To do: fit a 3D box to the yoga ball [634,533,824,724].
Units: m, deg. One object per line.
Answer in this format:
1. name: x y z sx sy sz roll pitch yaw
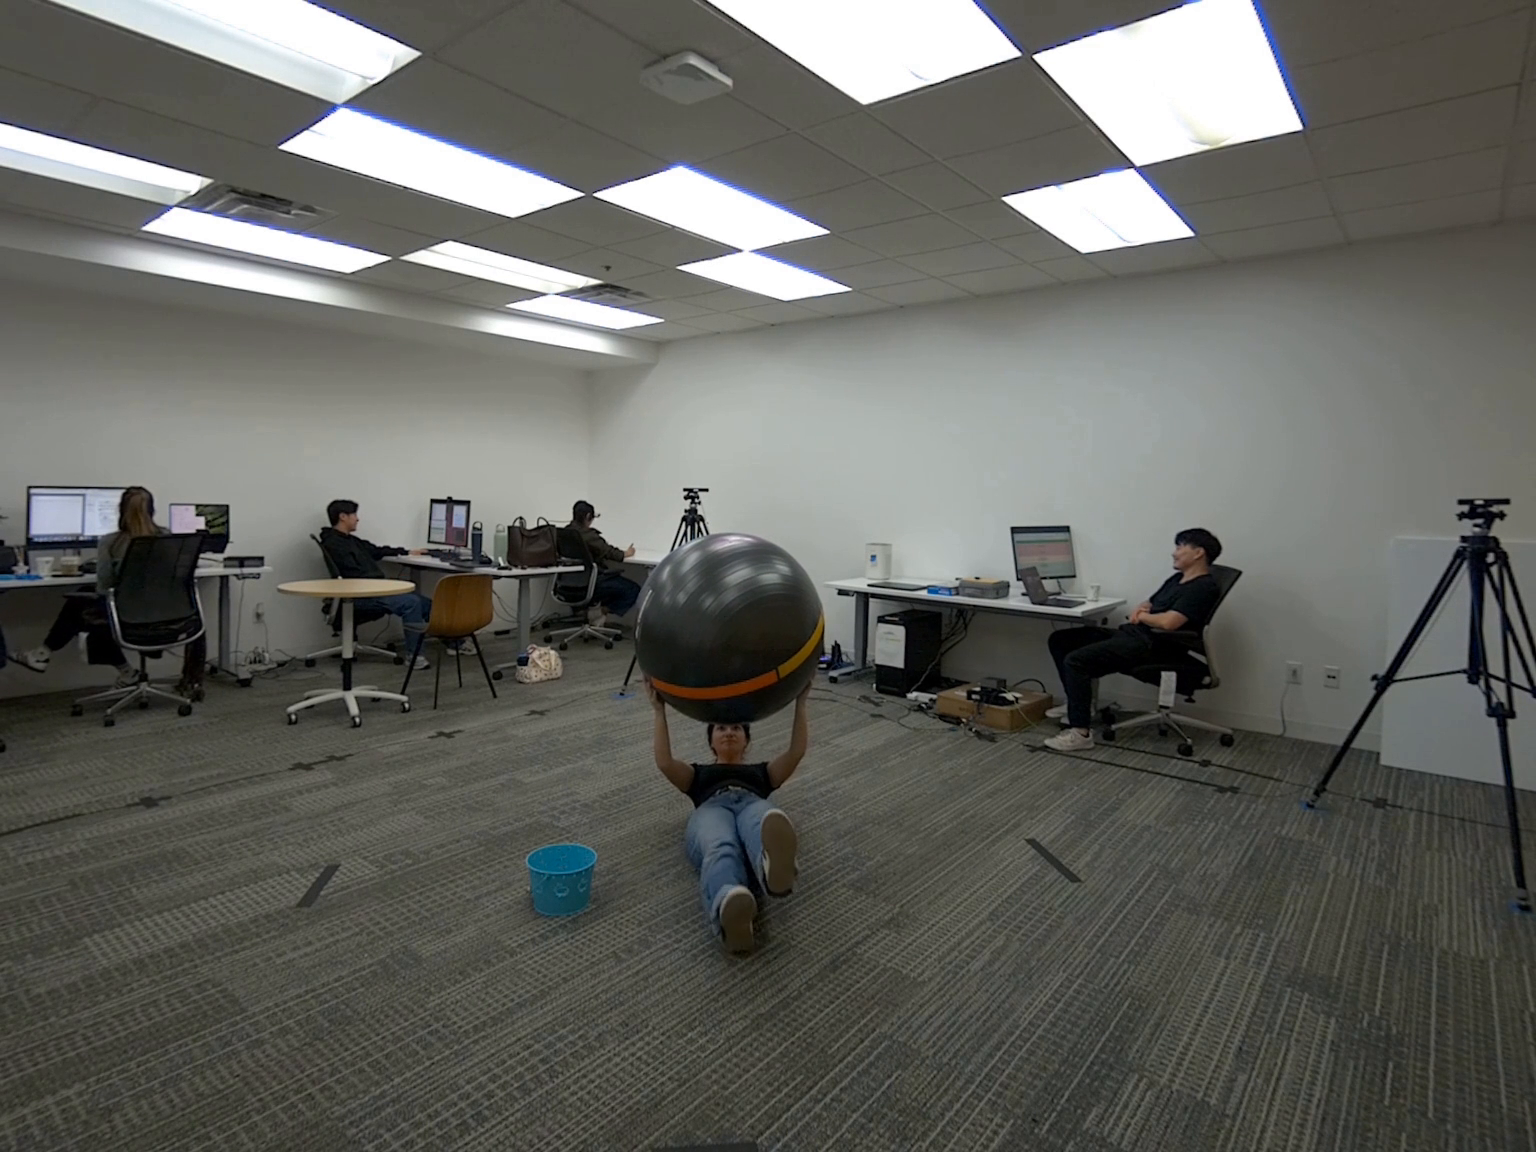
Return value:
1. yoga ball: -0.166 0.207 3.378 0.757 0.755 0.762 1 4 -2
